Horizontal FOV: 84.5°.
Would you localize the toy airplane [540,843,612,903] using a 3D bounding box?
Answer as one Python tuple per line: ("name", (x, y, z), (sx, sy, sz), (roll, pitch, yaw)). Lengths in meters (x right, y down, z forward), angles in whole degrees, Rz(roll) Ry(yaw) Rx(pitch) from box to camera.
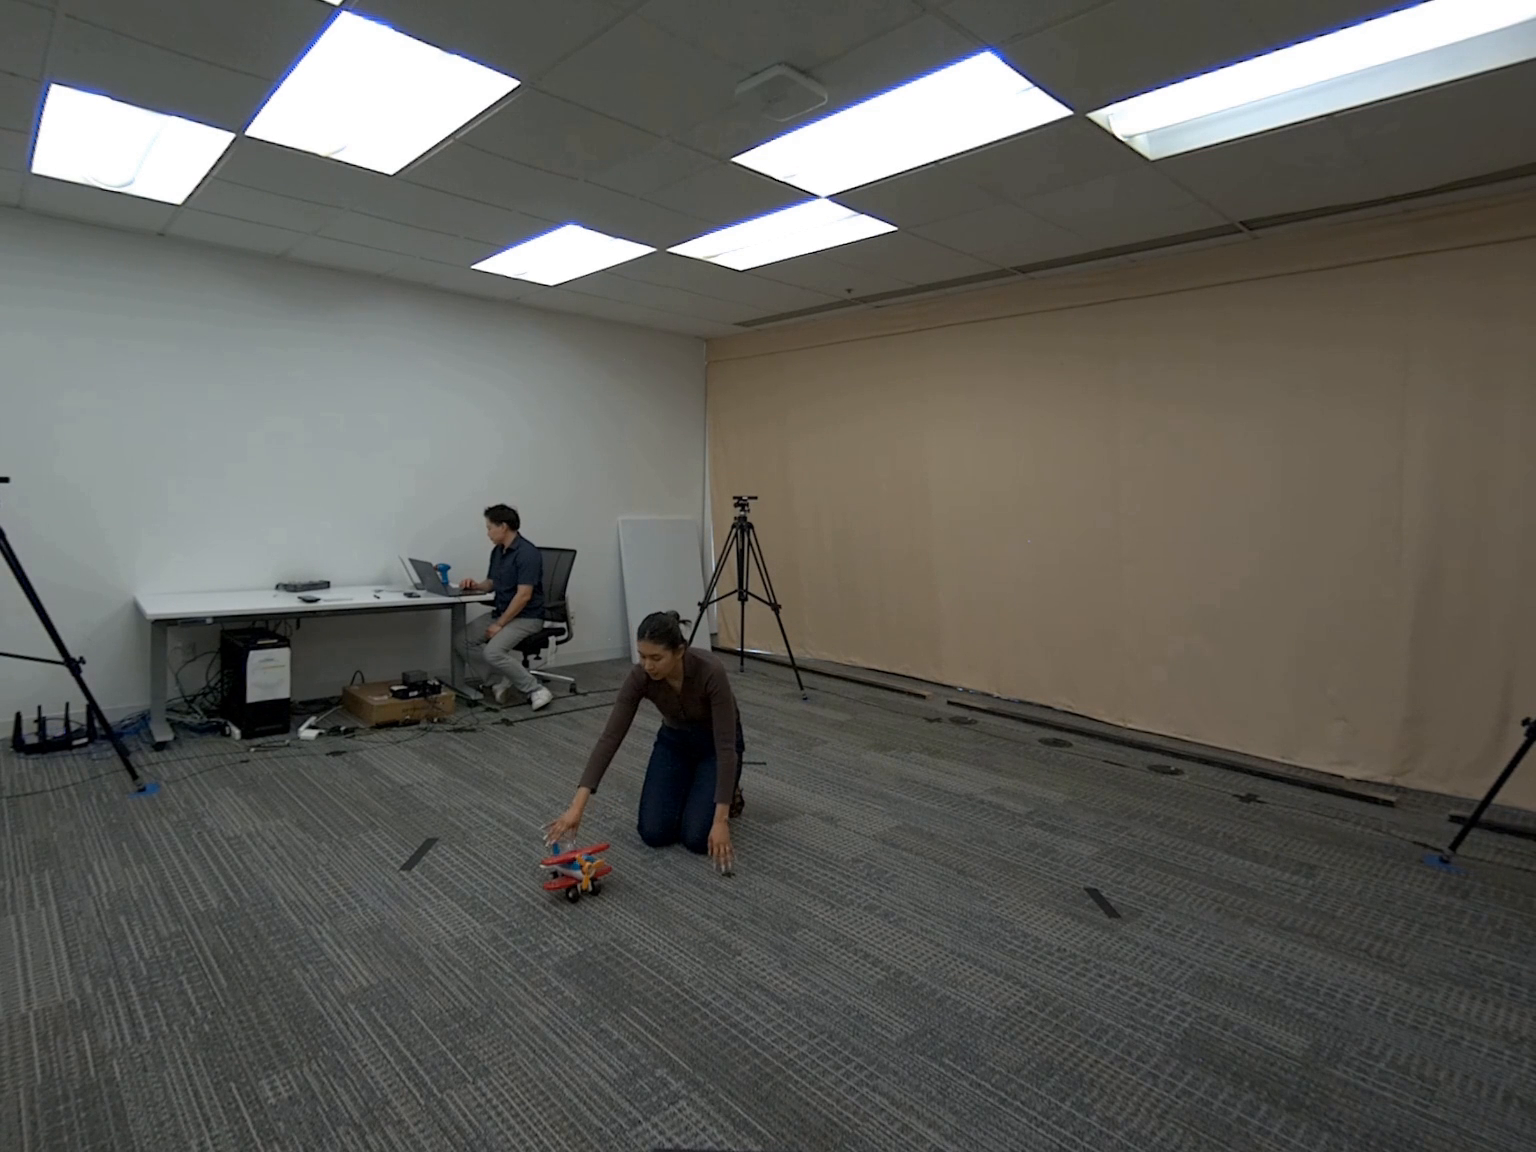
("toy airplane", (-0.710, 1.033, 2.948), (0.264, 0.156, 0.248), (5, 8, 21))
